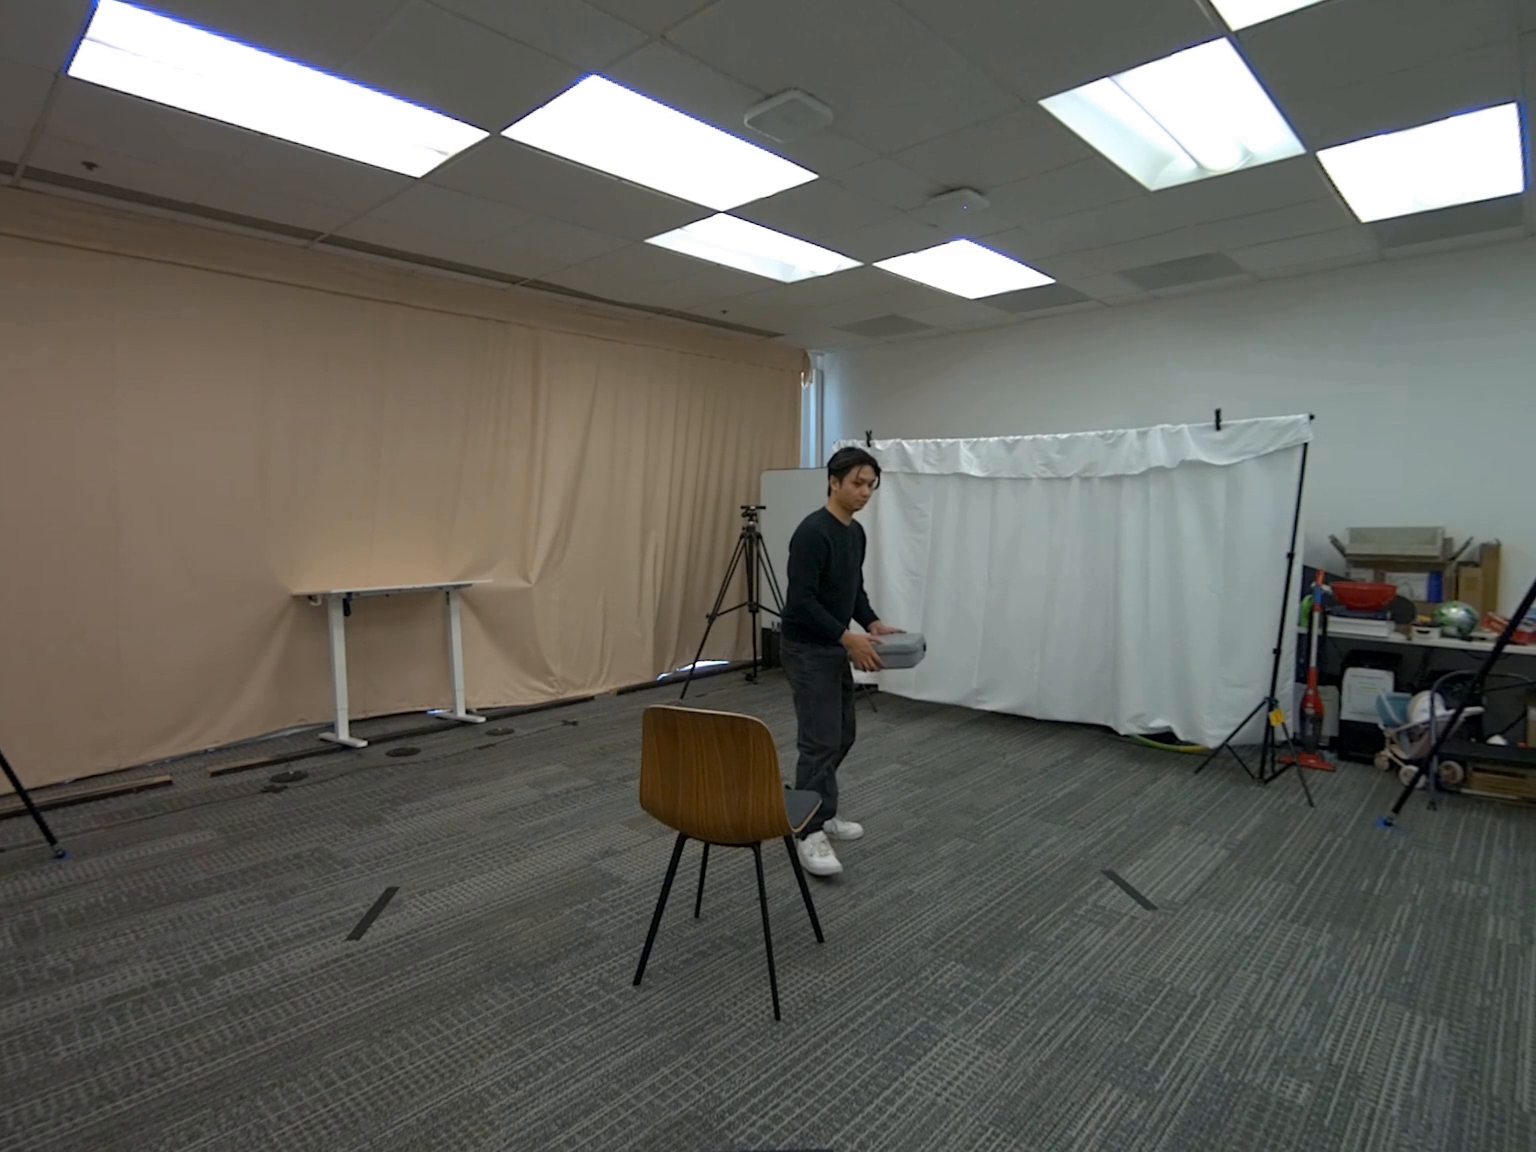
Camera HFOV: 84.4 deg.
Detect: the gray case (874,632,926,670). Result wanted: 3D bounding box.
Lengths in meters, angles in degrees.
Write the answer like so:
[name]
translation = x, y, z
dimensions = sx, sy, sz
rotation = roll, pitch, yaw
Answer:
[gray case]
translation = 0.477, 0.298, 3.341
dimensions = 0.266, 0.104, 0.252
rotation = -5, 3, 21
